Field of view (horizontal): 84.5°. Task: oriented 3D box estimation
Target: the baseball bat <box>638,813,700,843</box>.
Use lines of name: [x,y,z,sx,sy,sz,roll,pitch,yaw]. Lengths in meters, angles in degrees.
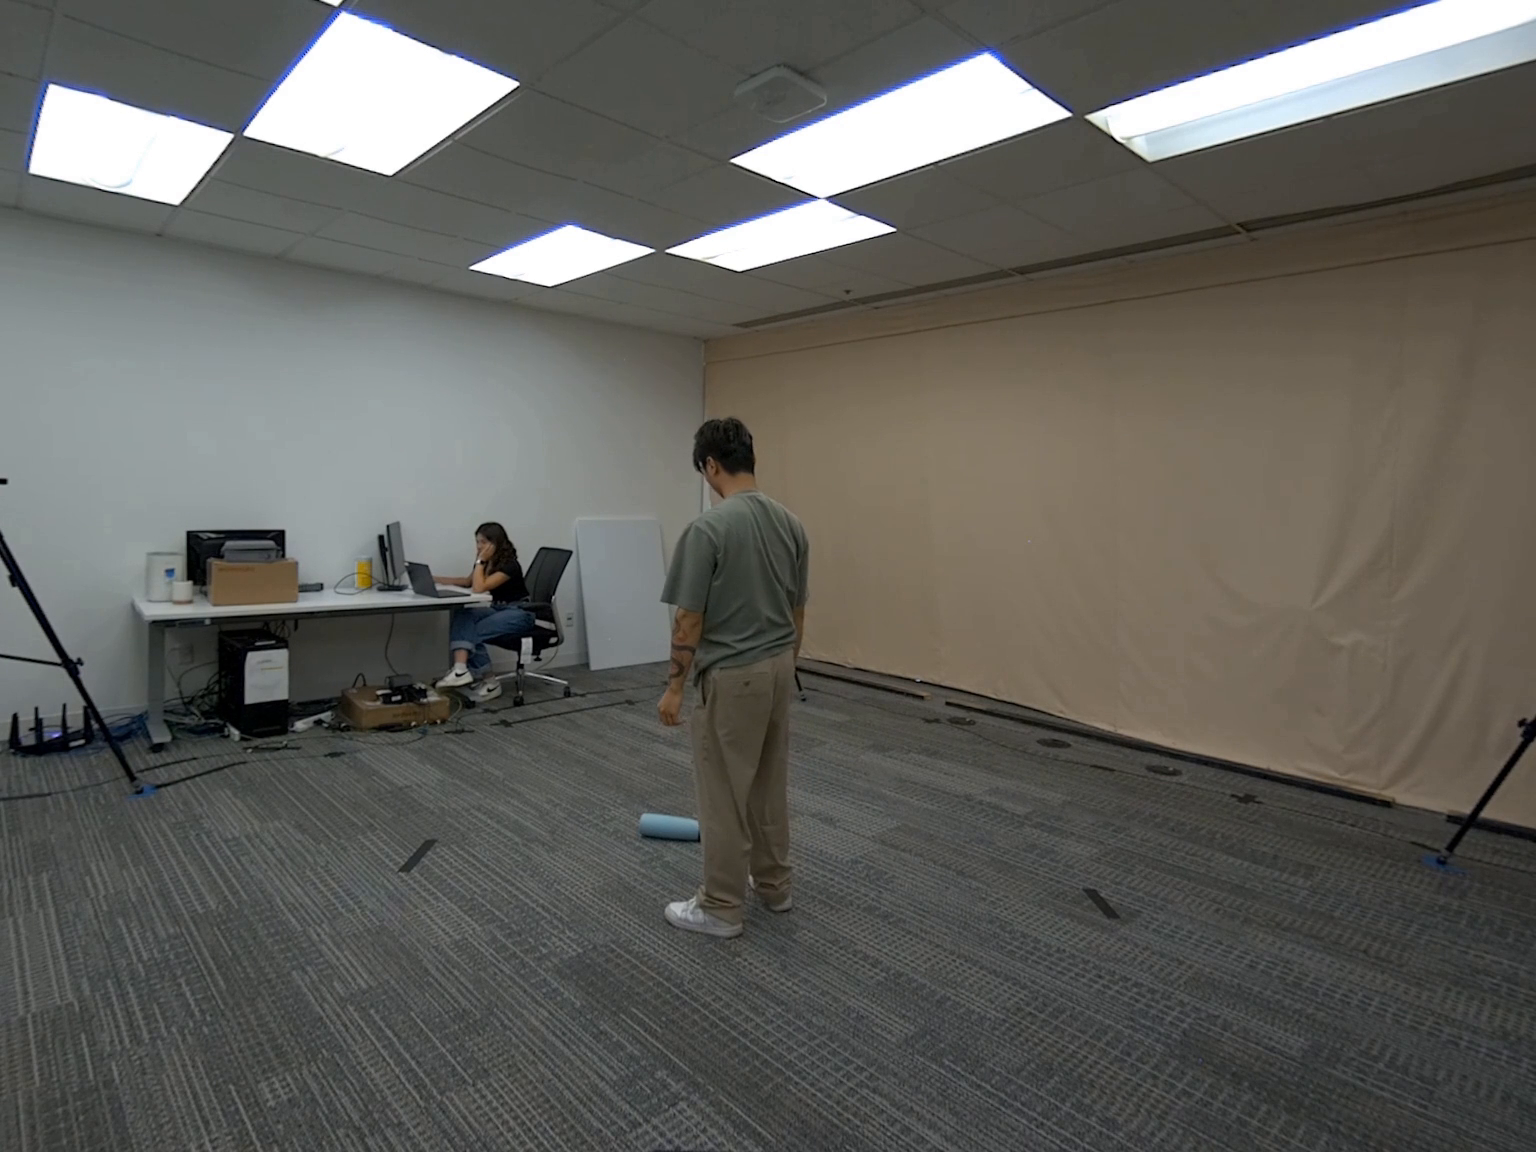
baseball bat: [-0.264,1.038,3.418,0.547,0.089,0.088,4,4,8]
